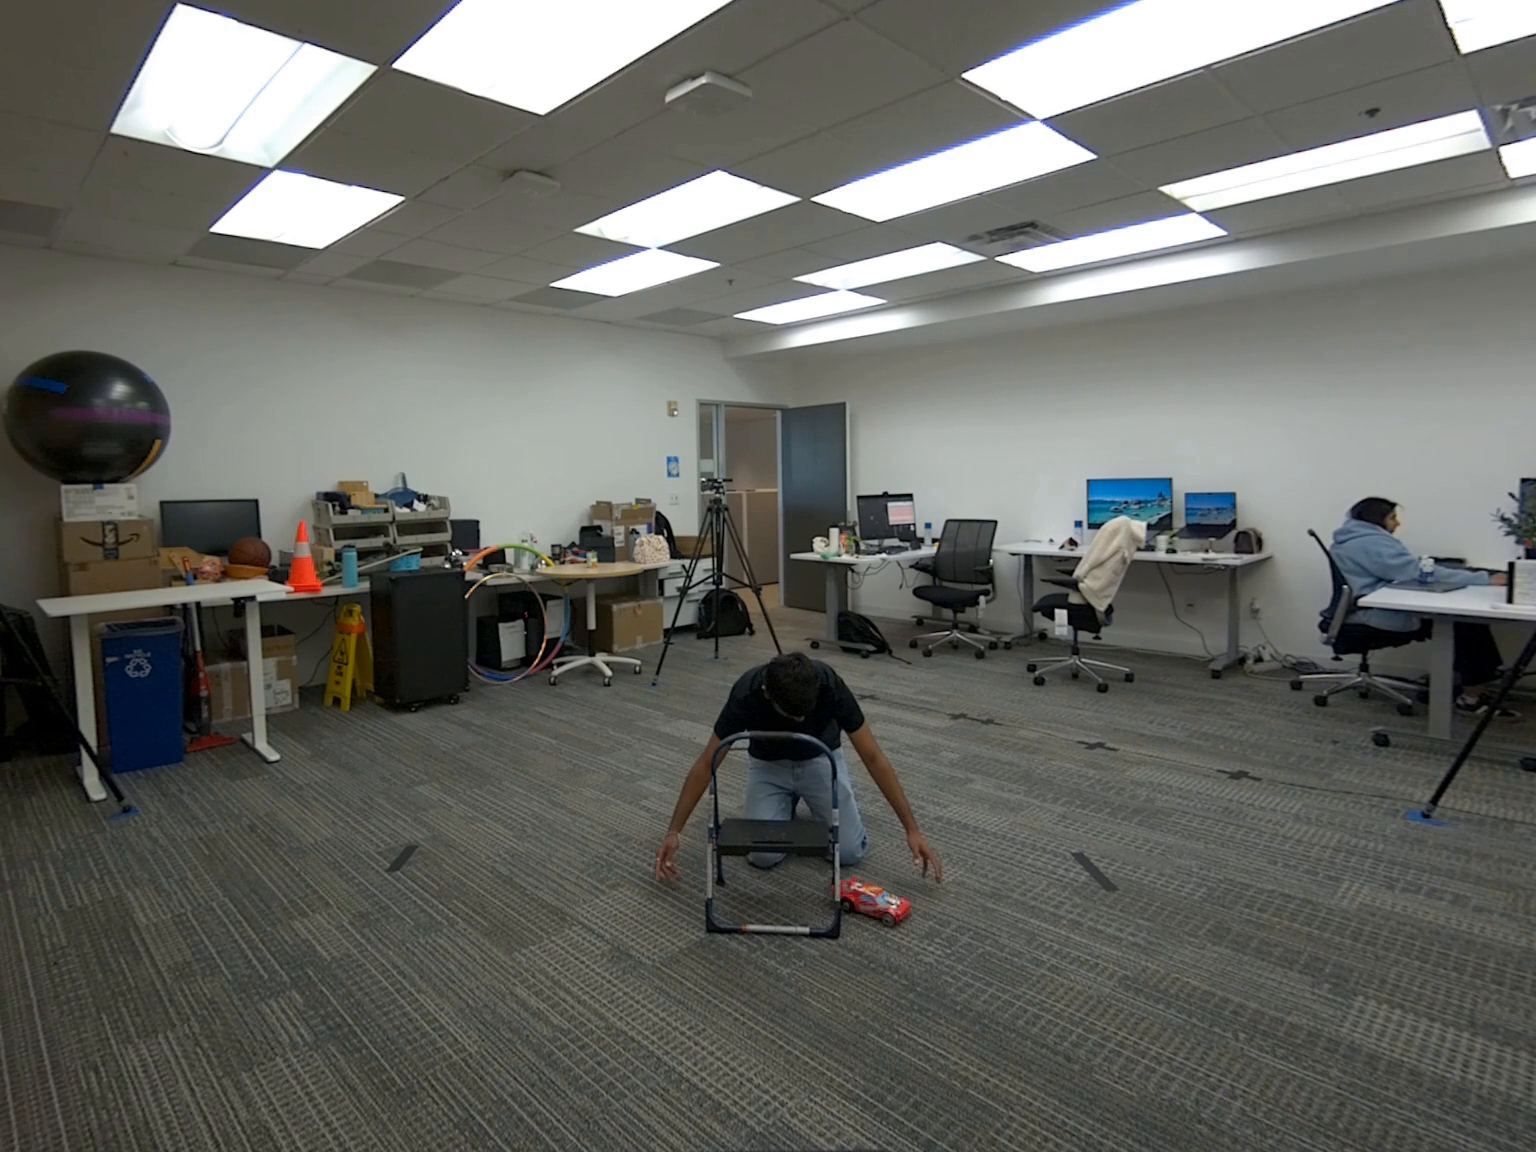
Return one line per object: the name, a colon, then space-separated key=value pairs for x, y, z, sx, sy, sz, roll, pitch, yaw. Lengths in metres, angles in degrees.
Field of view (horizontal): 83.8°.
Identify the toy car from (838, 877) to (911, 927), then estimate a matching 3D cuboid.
toy car: x=0.306 y=1.052 z=2.752 sx=0.263 sy=0.082 sz=0.127 roll=17 pitch=14 yaw=35
